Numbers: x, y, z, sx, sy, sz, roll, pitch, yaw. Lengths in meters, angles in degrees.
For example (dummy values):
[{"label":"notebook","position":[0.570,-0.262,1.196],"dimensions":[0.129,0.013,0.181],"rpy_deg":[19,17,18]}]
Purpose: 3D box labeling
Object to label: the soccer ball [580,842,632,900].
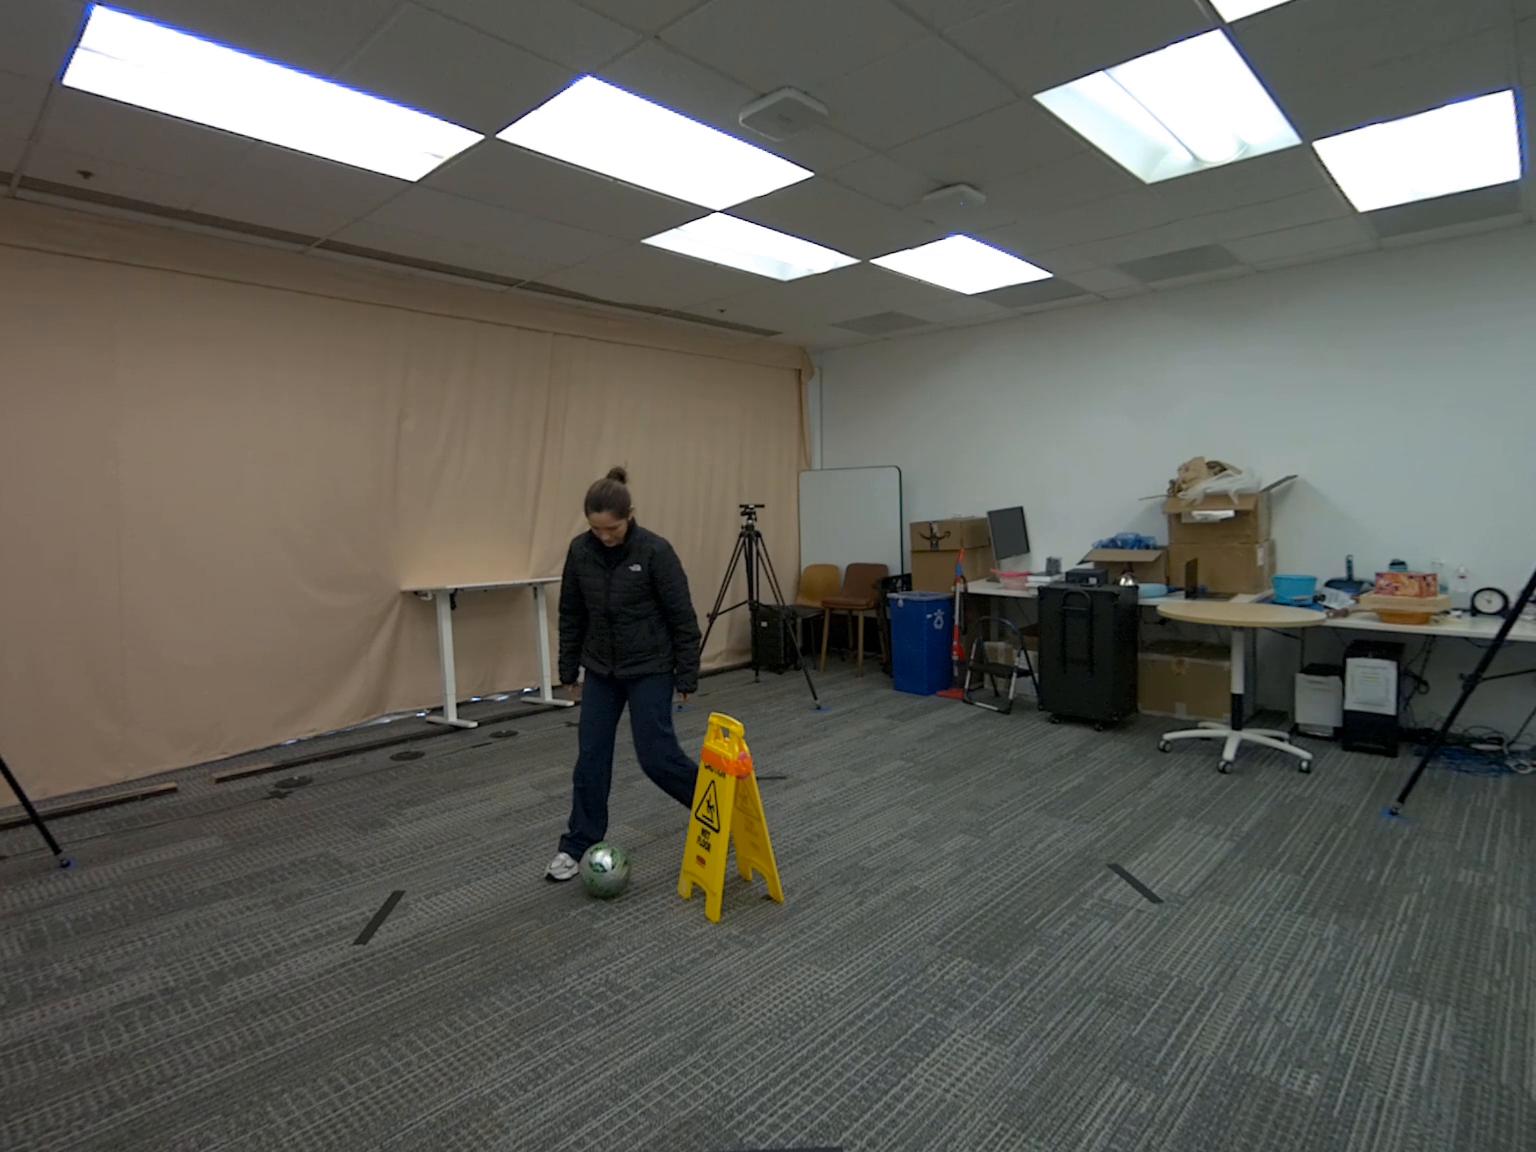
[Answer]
[{"label":"soccer ball","position":[-0.581,1.060,3.030],"dimensions":[0.187,0.187,0.188],"rpy_deg":[-1,4,-2]}]
